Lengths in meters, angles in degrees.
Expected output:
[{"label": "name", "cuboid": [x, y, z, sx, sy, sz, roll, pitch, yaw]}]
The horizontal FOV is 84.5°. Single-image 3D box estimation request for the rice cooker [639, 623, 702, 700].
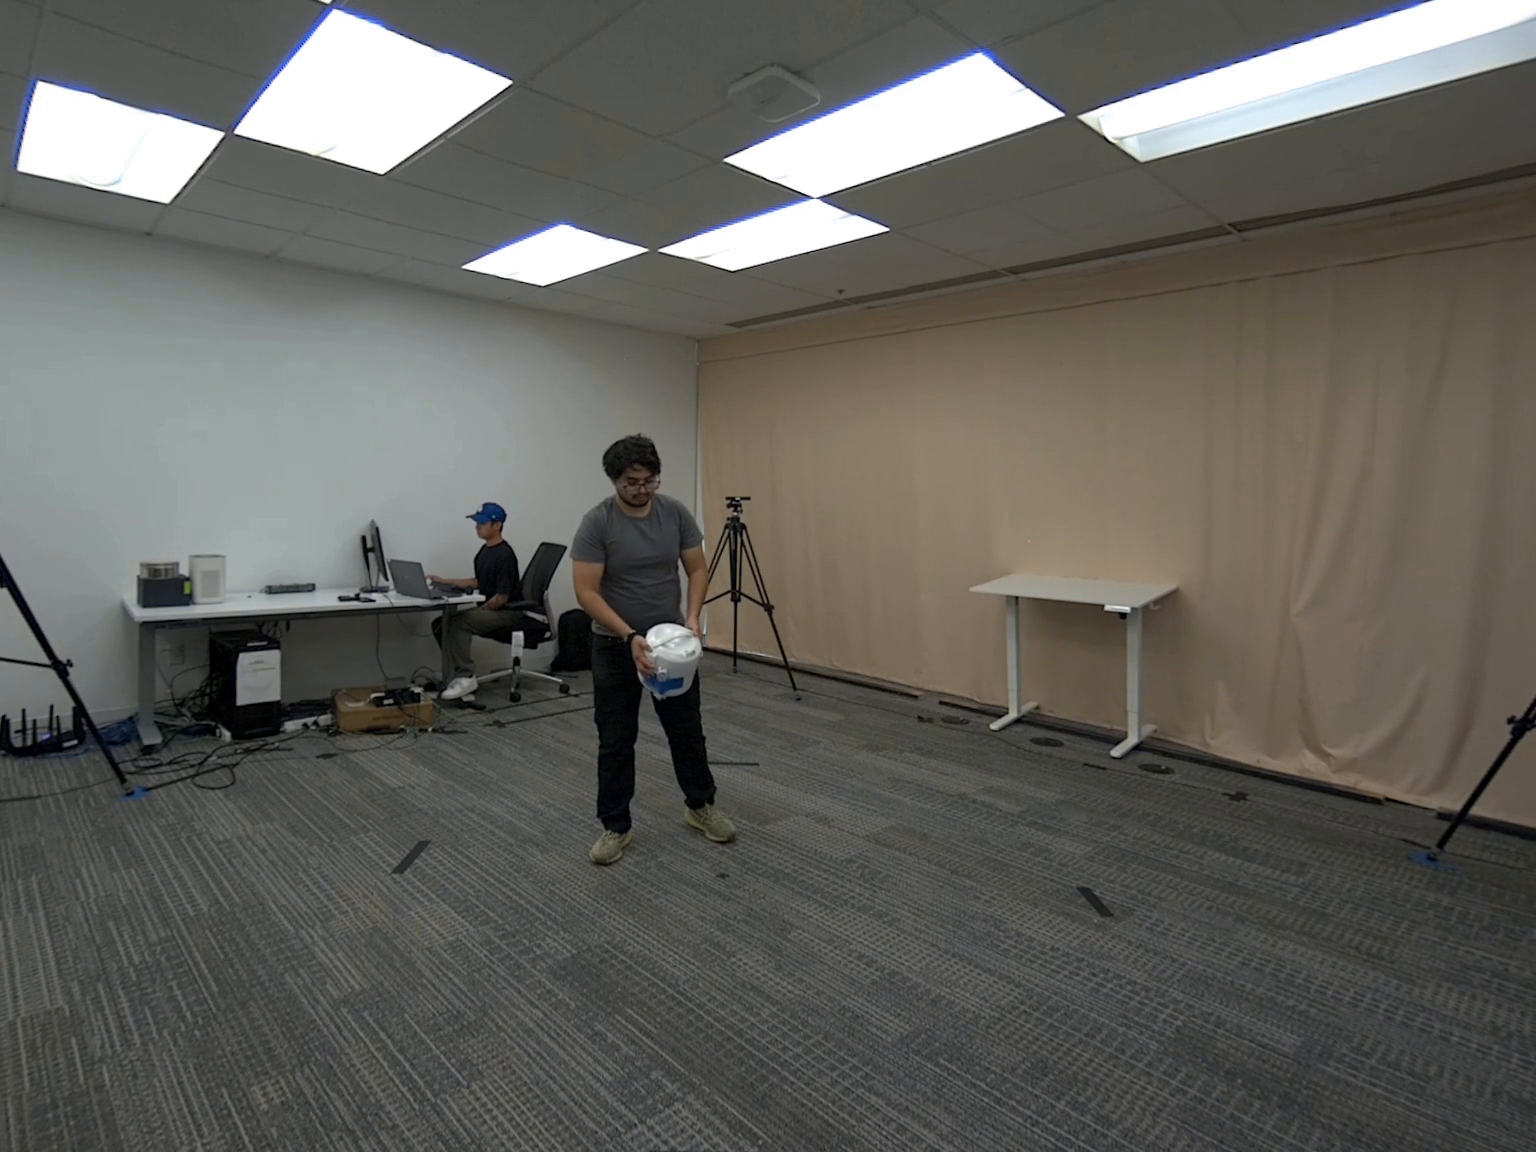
[{"label": "rice cooker", "cuboid": [-0.372, 0.297, 3.062, 0.216, 0.230, 0.224, -12, 44, -38]}]
